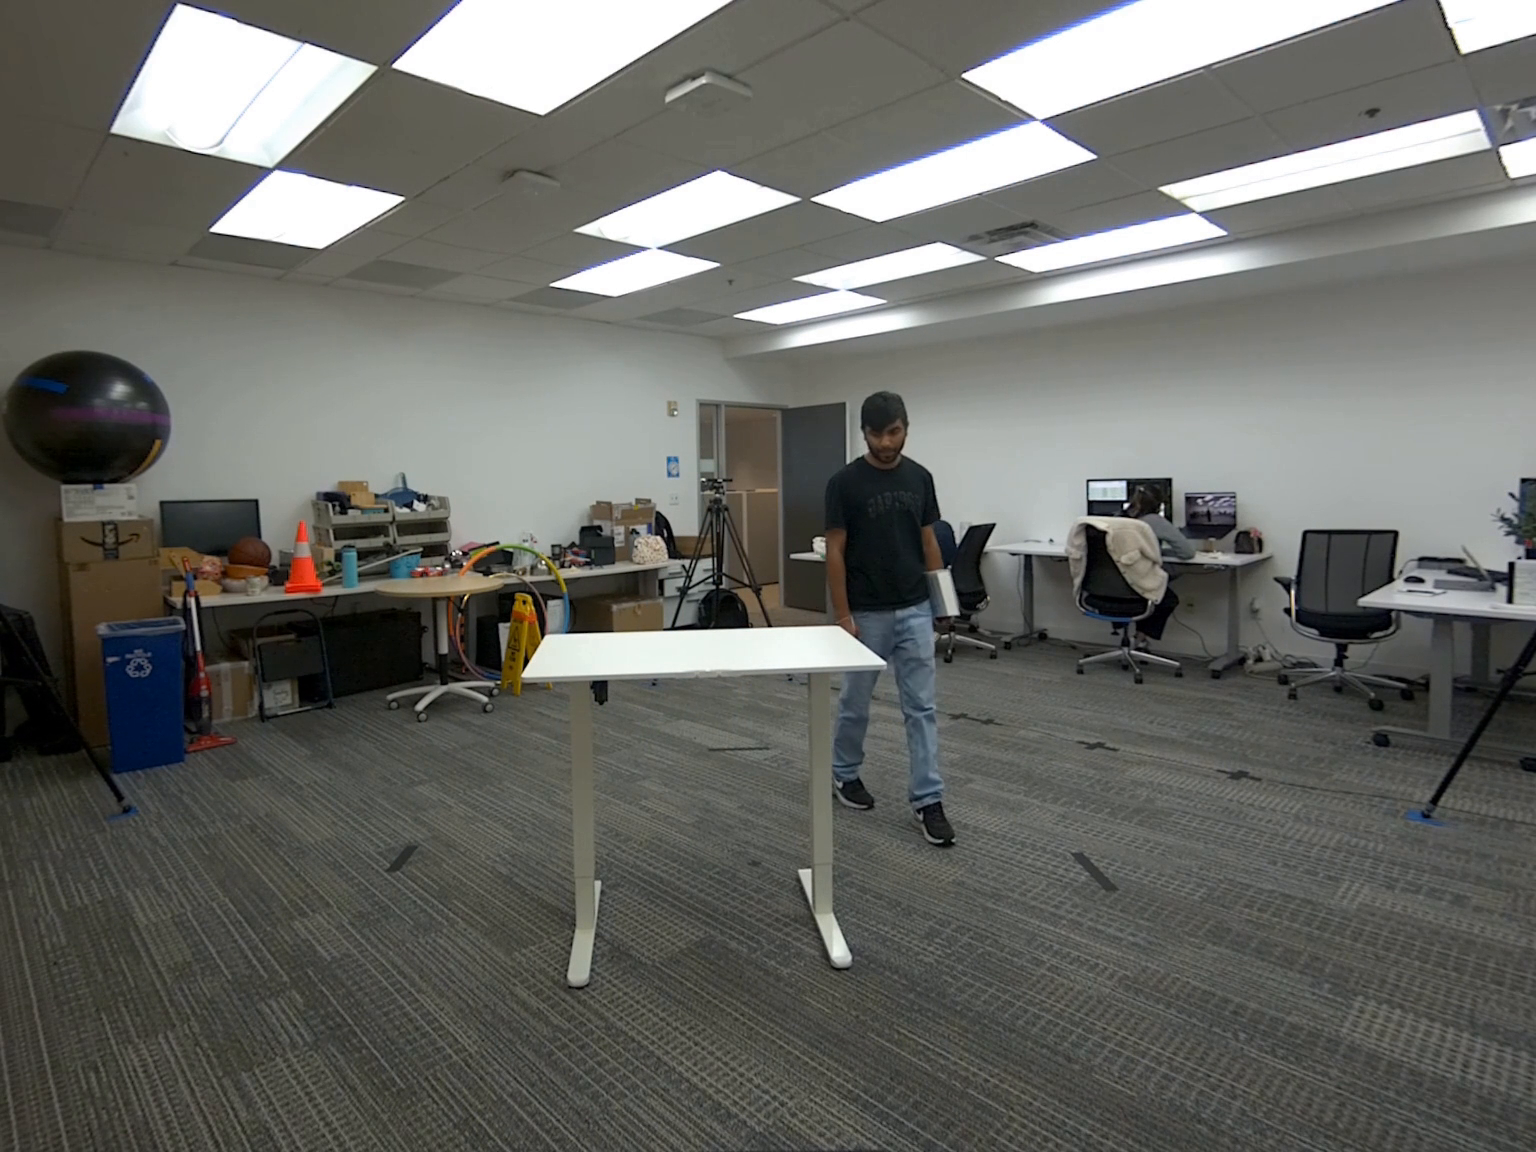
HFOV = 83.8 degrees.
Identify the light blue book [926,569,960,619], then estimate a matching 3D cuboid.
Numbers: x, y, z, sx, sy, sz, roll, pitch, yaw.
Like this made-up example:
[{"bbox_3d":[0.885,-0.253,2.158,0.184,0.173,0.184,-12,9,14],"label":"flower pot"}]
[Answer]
[{"bbox_3d":[0.660,0.076,3.519,0.058,0.192,0.264,-10,-4,-22],"label":"light blue book"}]
